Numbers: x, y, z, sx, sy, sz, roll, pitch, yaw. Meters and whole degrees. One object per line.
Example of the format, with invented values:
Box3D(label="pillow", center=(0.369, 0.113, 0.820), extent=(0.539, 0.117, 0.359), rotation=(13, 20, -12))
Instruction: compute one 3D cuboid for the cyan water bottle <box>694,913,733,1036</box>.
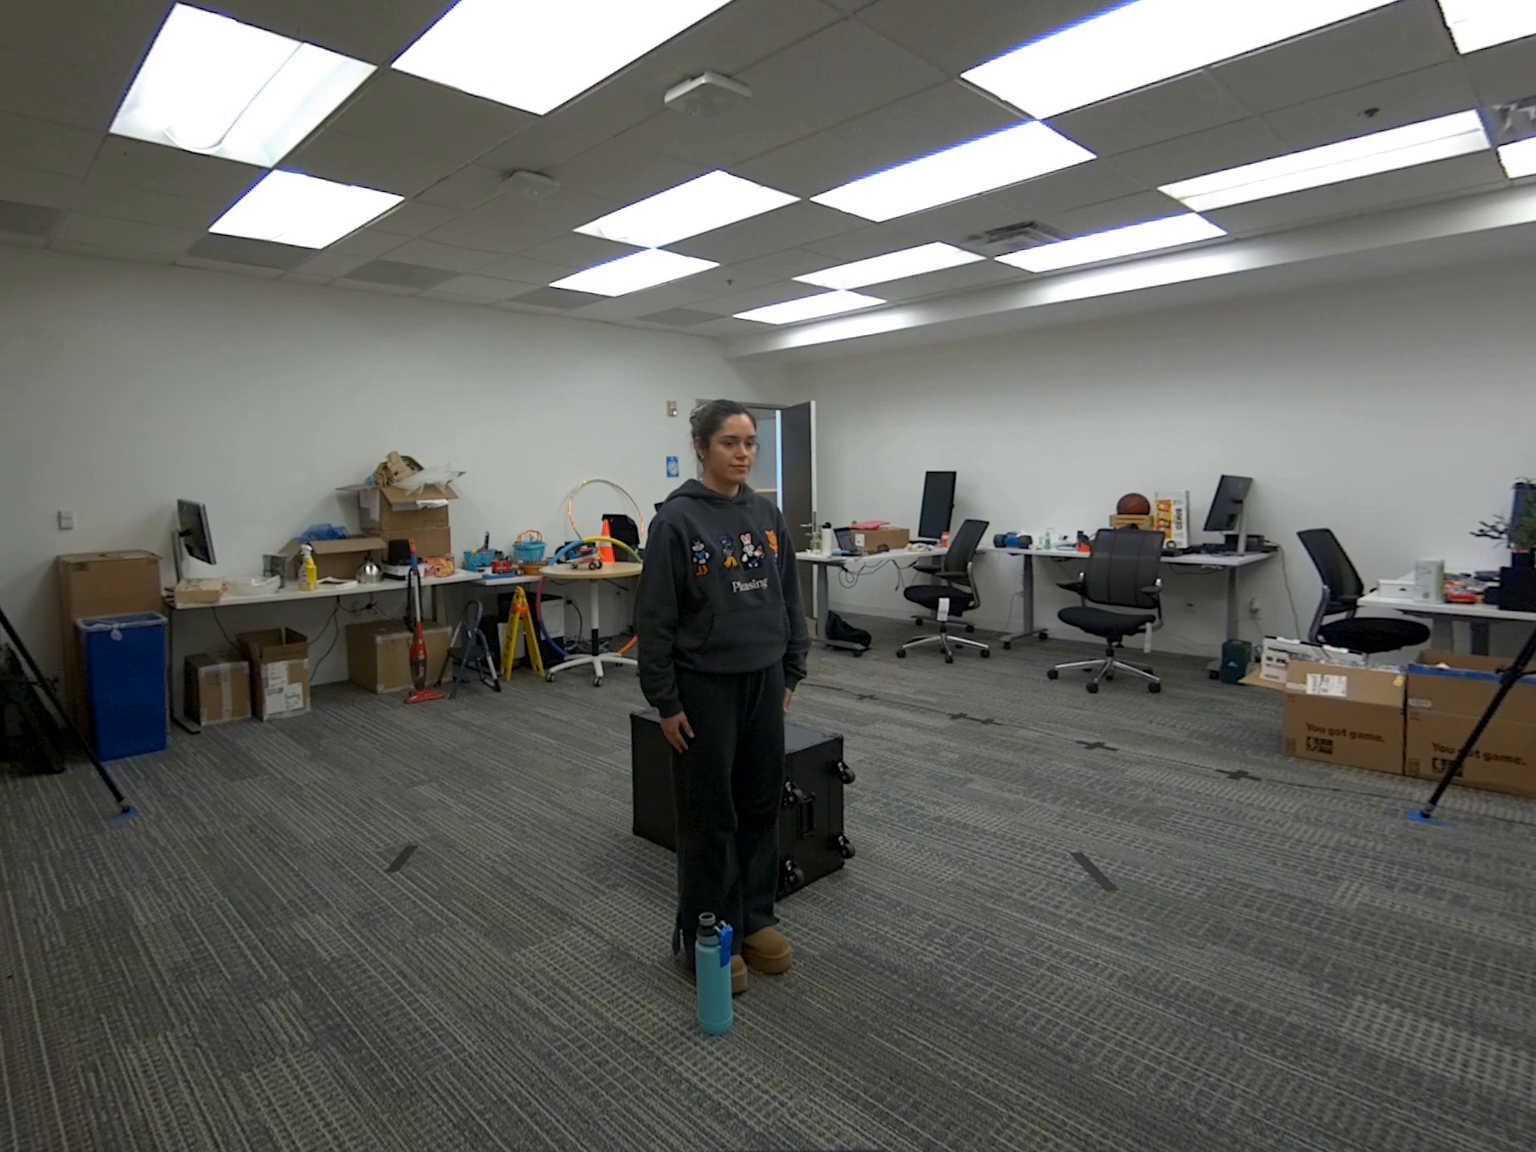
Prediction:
Box3D(label="cyan water bottle", center=(-0.137, 1.017, 2.173), extent=(0.092, 0.282, 0.093), rotation=(-2, 5, -1))
